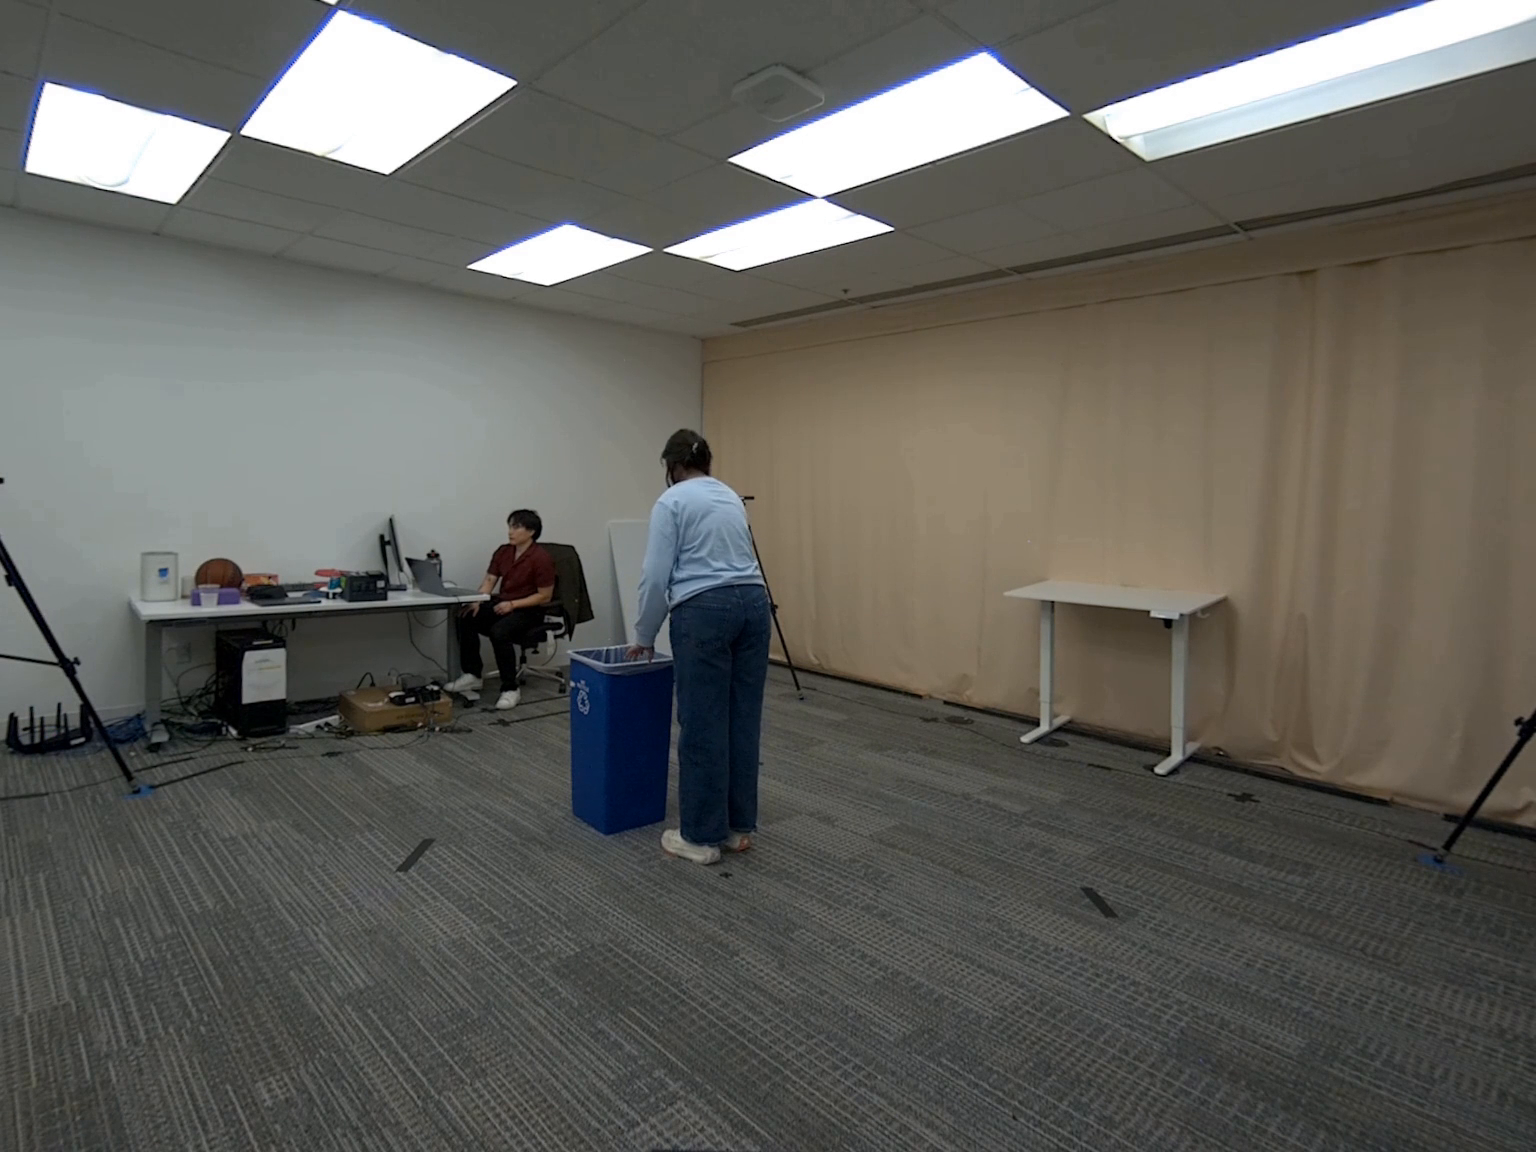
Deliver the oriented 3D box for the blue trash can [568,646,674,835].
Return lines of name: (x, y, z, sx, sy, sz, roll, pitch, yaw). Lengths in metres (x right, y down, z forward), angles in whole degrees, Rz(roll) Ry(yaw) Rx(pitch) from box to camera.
blue trash can: (-0.639, 0.690, 3.630, 0.369, 0.712, 0.383, -2, 4, -40)
